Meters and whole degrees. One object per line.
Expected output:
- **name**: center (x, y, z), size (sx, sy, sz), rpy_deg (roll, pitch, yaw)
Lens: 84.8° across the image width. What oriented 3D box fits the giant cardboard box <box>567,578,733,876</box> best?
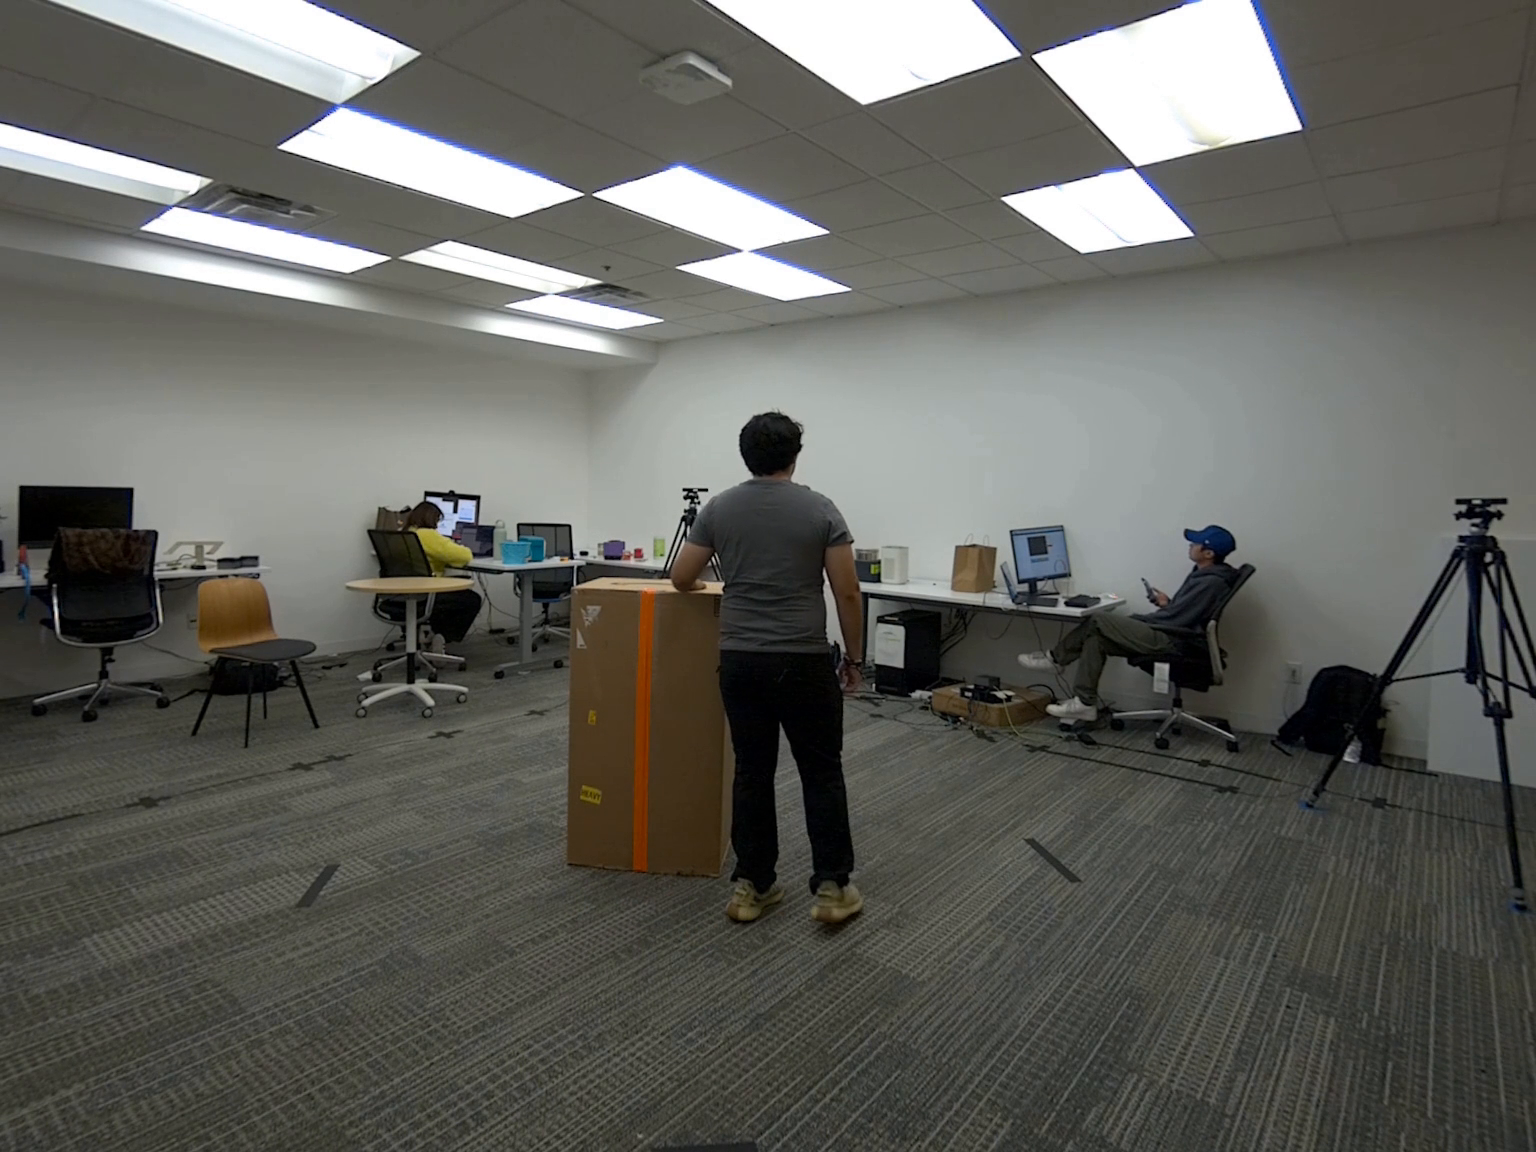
- **giant cardboard box**: center (-0.440, 0.540, 3.263), size (0.583, 1.023, 0.423), rpy_deg (2, 3, 8)
